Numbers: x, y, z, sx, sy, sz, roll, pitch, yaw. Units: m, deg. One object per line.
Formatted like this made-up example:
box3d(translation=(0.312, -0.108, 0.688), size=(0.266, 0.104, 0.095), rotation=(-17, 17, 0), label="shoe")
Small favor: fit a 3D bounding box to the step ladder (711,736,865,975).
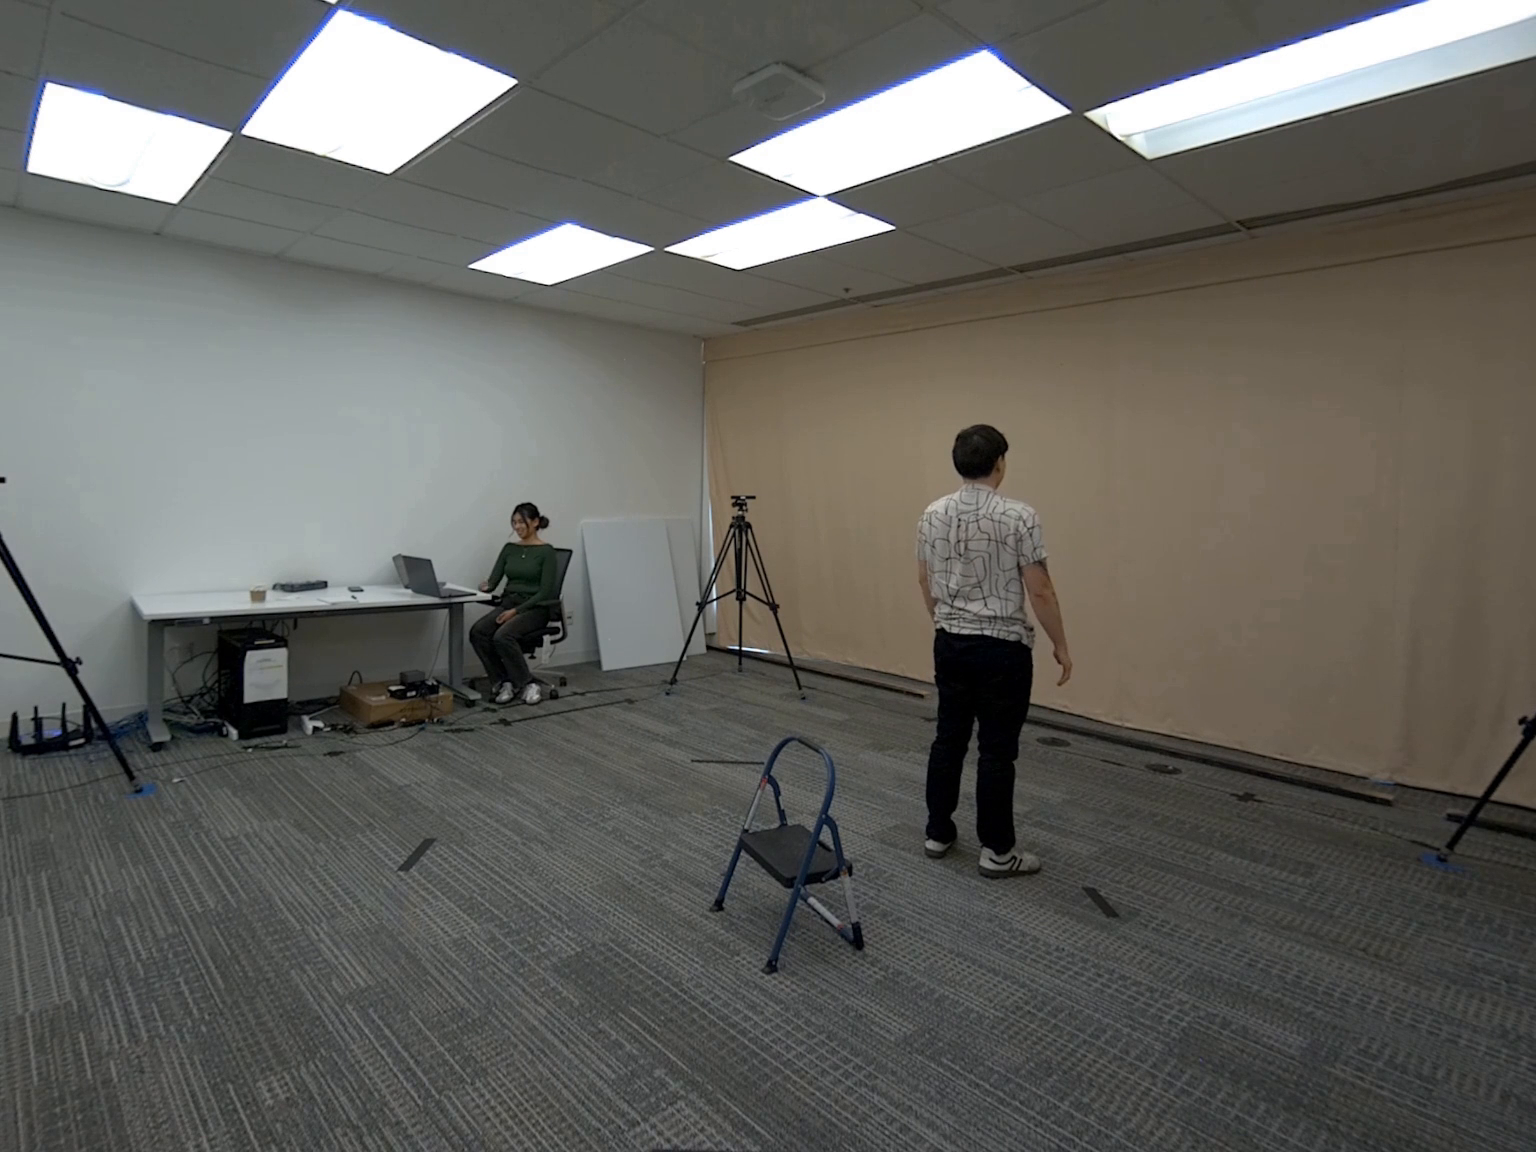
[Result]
box3d(translation=(0.056, 0.840, 2.702), size=(0.343, 0.604, 0.440), rotation=(-1, 4, -27), label="step ladder")
